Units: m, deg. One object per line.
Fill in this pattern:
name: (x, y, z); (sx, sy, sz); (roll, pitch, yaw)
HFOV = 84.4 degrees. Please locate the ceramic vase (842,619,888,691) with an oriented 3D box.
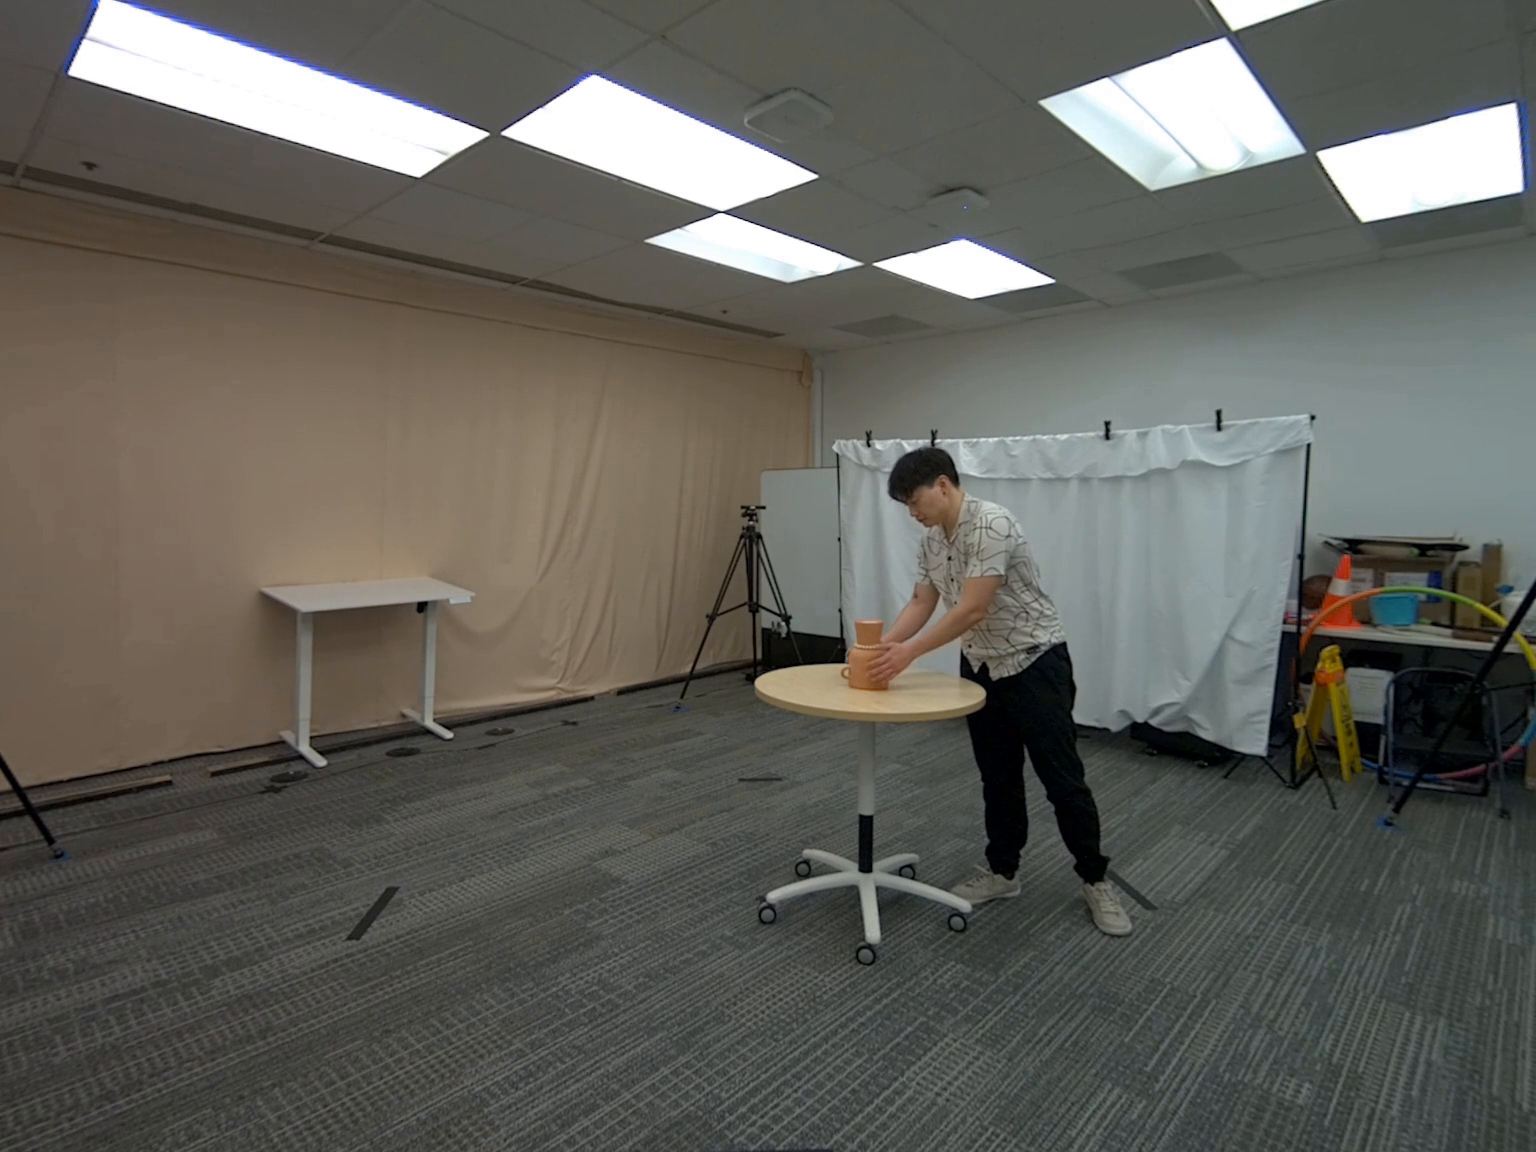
ceramic vase: (0.350, 0.265, 2.840); (0.139, 0.219, 0.154); (4, 4, 32)
